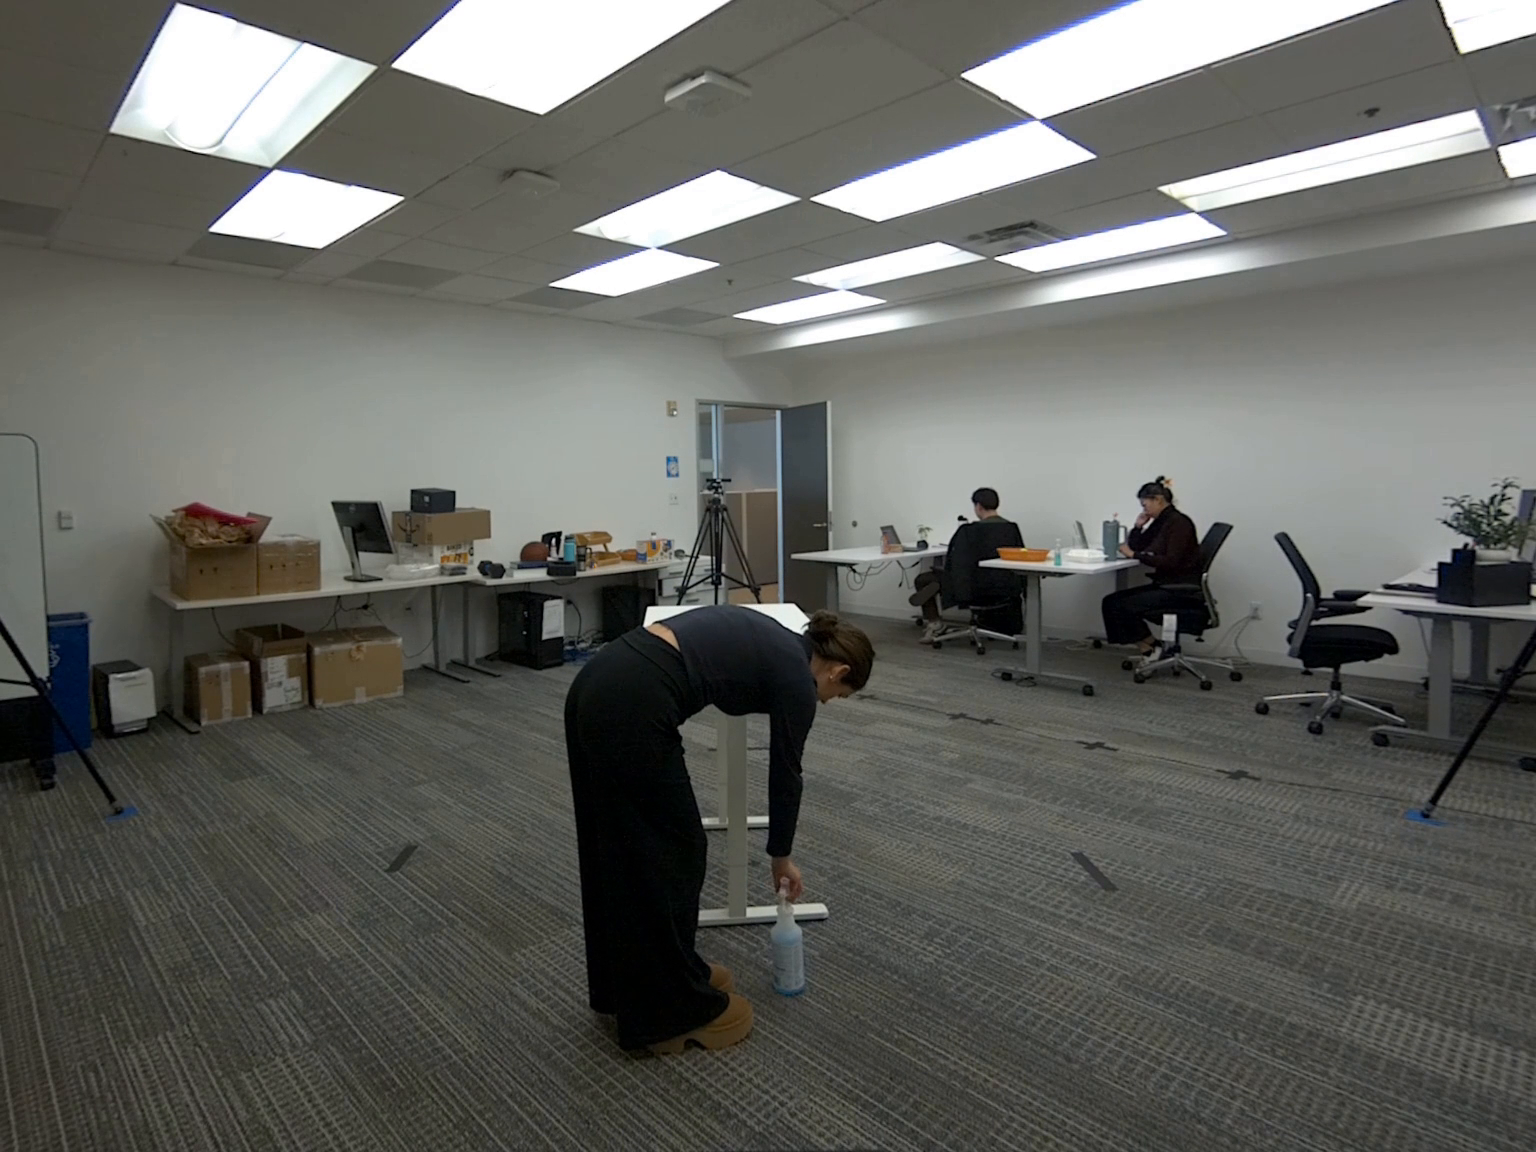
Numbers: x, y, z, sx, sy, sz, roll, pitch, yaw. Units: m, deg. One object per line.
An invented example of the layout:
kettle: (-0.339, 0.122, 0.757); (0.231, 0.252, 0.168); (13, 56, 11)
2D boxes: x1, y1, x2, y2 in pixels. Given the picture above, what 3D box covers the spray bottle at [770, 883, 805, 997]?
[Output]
spray bottle: (0.059, 0.988, 2.334); (0.089, 0.295, 0.088); (1, 7, 31)
